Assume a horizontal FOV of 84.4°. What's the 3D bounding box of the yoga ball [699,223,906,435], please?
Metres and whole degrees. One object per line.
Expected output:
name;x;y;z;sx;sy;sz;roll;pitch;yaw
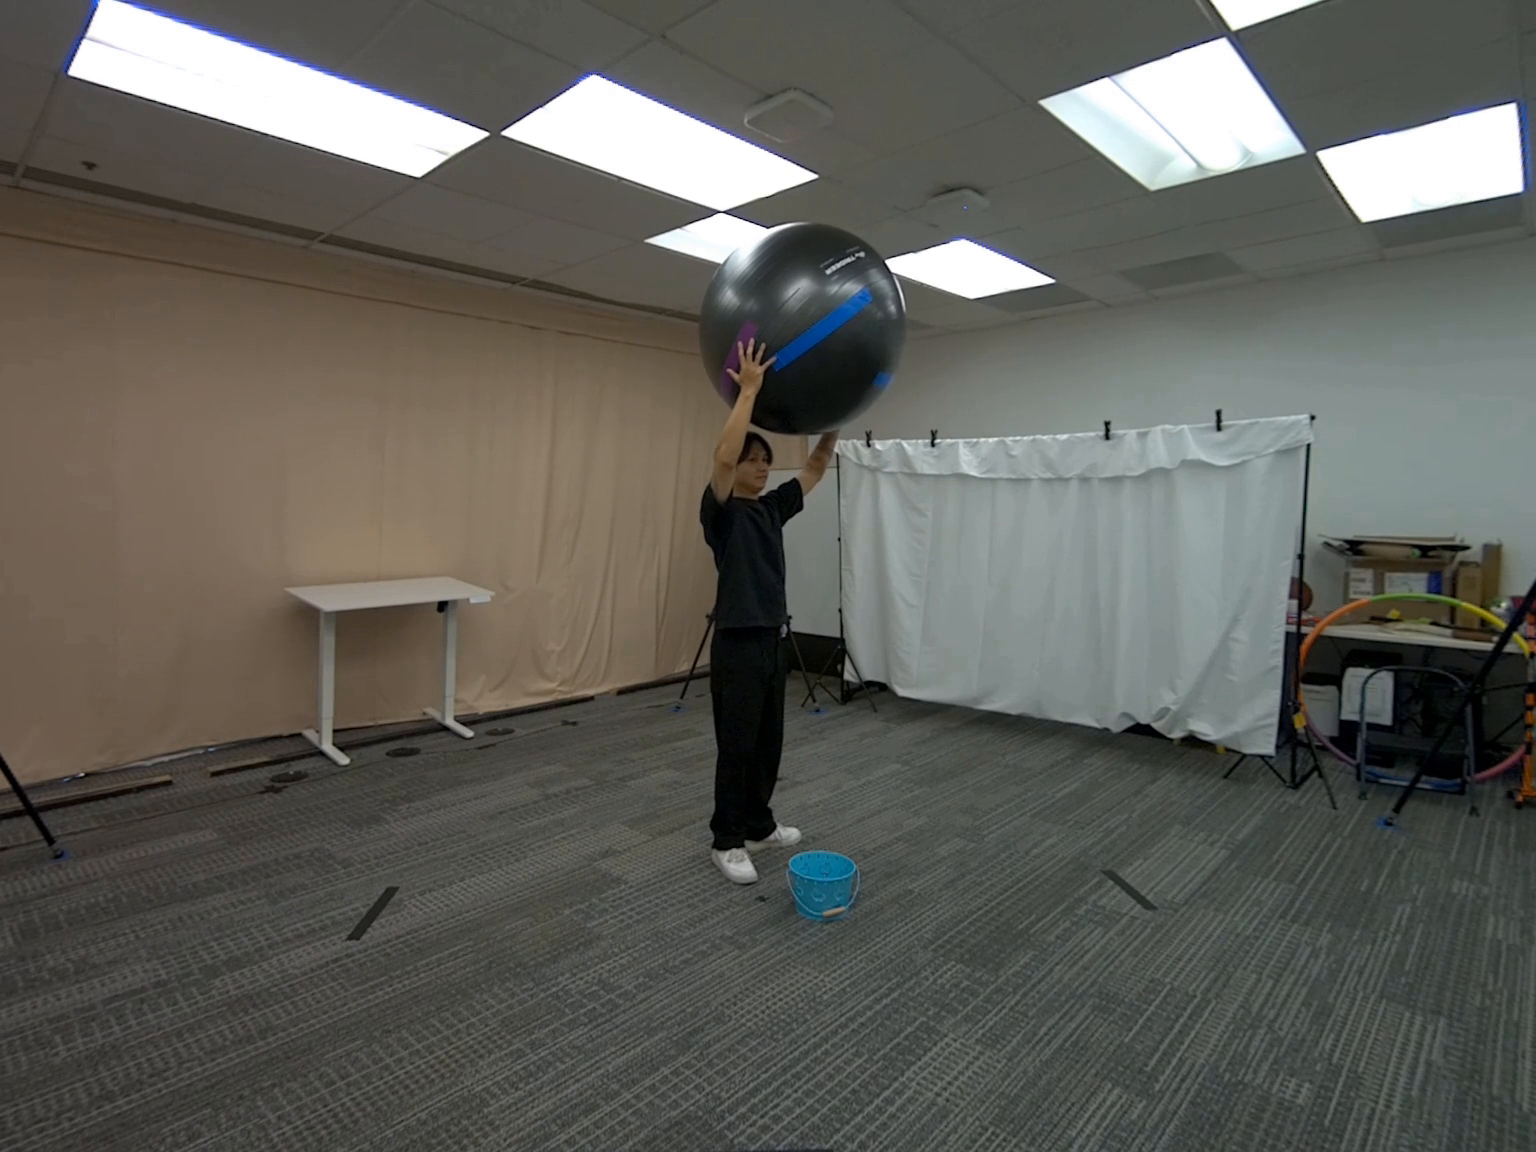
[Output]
yoga ball;0.127;-0.894;3.114;0.757;0.756;0.760;0;4;-2
